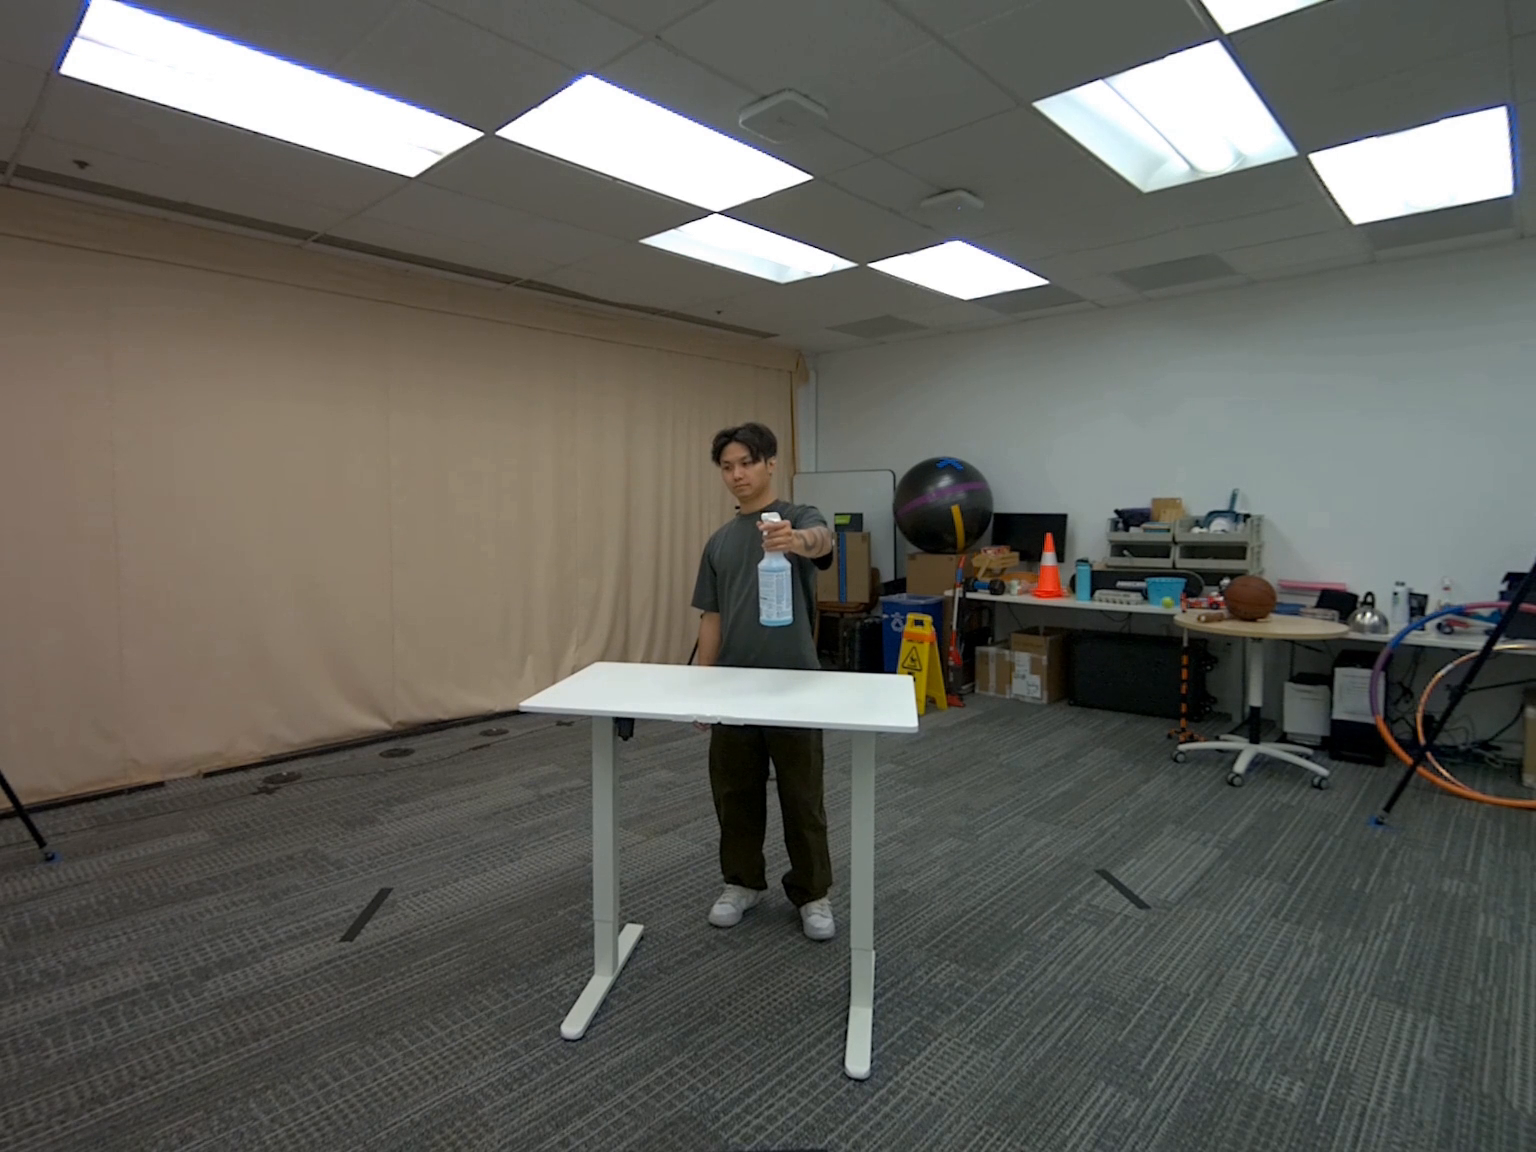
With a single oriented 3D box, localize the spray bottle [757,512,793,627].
[{"bbox_3d":[0.018,-0.018,2.229,0.087,0.296,0.090,-8,9,-36],"label":"spray bottle"}]
